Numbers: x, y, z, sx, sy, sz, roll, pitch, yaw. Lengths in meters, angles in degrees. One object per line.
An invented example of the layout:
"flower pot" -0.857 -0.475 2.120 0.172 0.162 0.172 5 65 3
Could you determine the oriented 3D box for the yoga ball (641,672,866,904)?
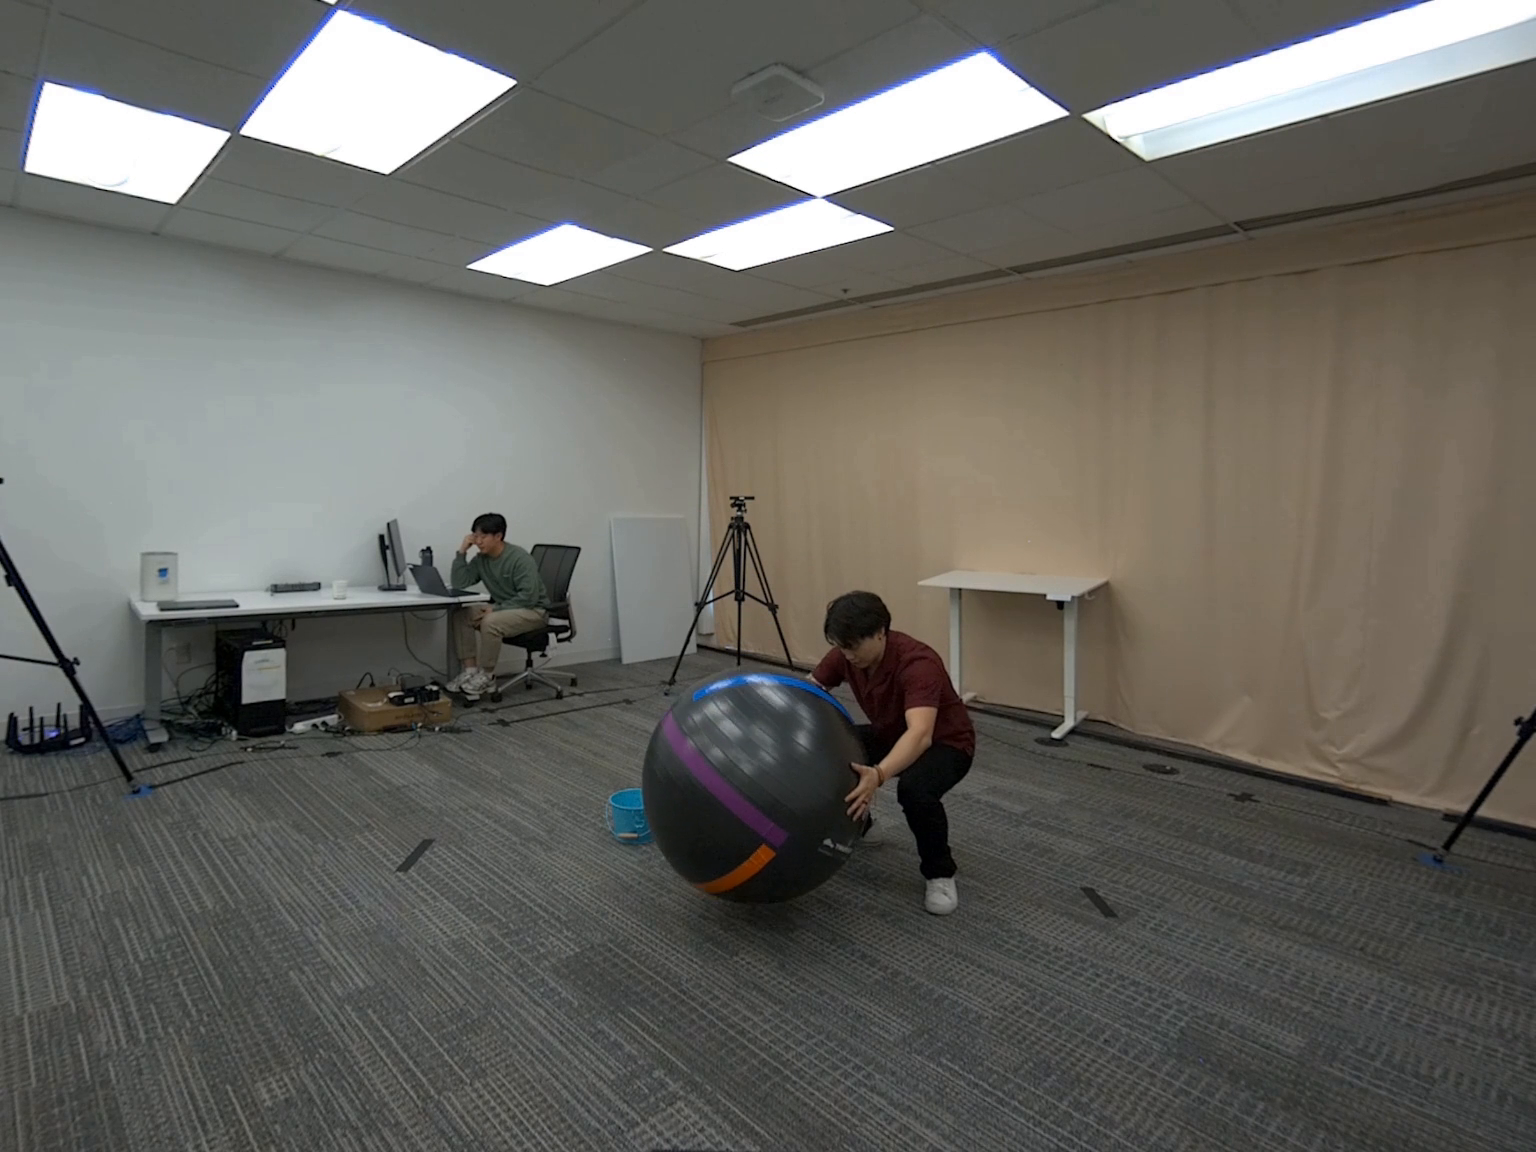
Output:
"yoga ball" -0.040 0.688 2.786 0.757 0.756 0.761 1 4 -1
